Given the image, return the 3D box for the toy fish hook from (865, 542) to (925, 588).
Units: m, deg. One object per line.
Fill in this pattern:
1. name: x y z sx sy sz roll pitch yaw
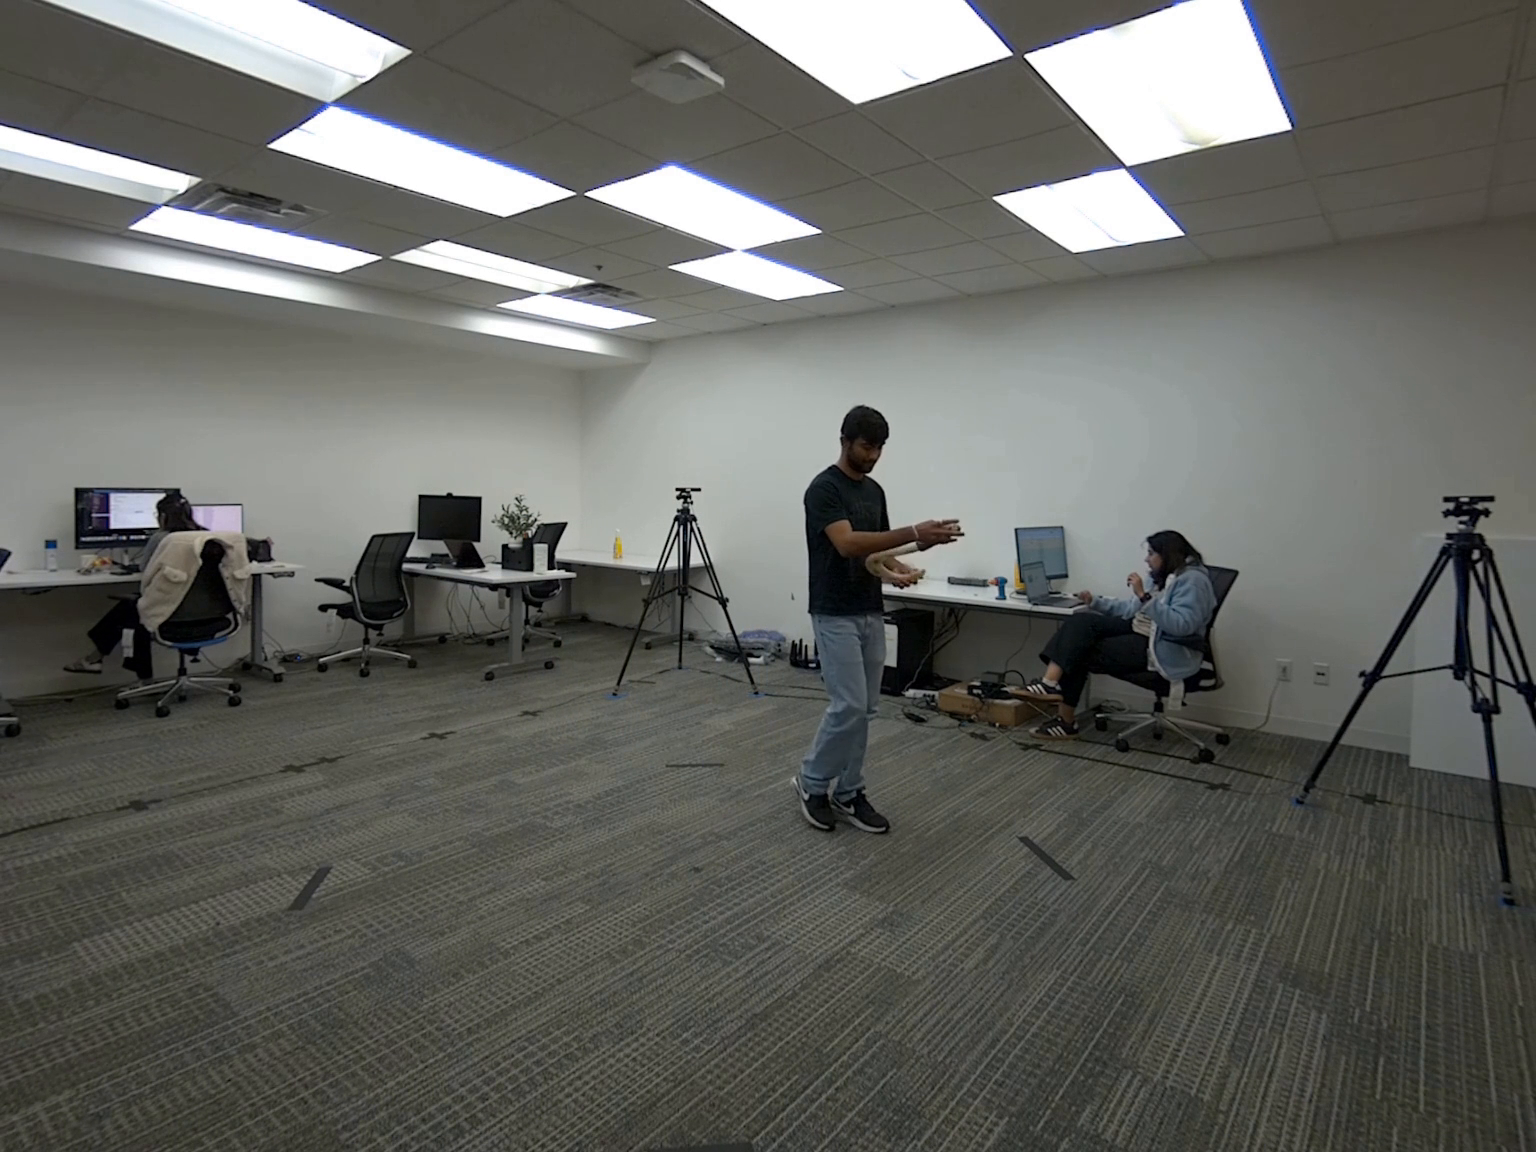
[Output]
1. toy fish hook: 0.584 -0.086 3.308 0.218 0.049 0.513 27 -31 -26
